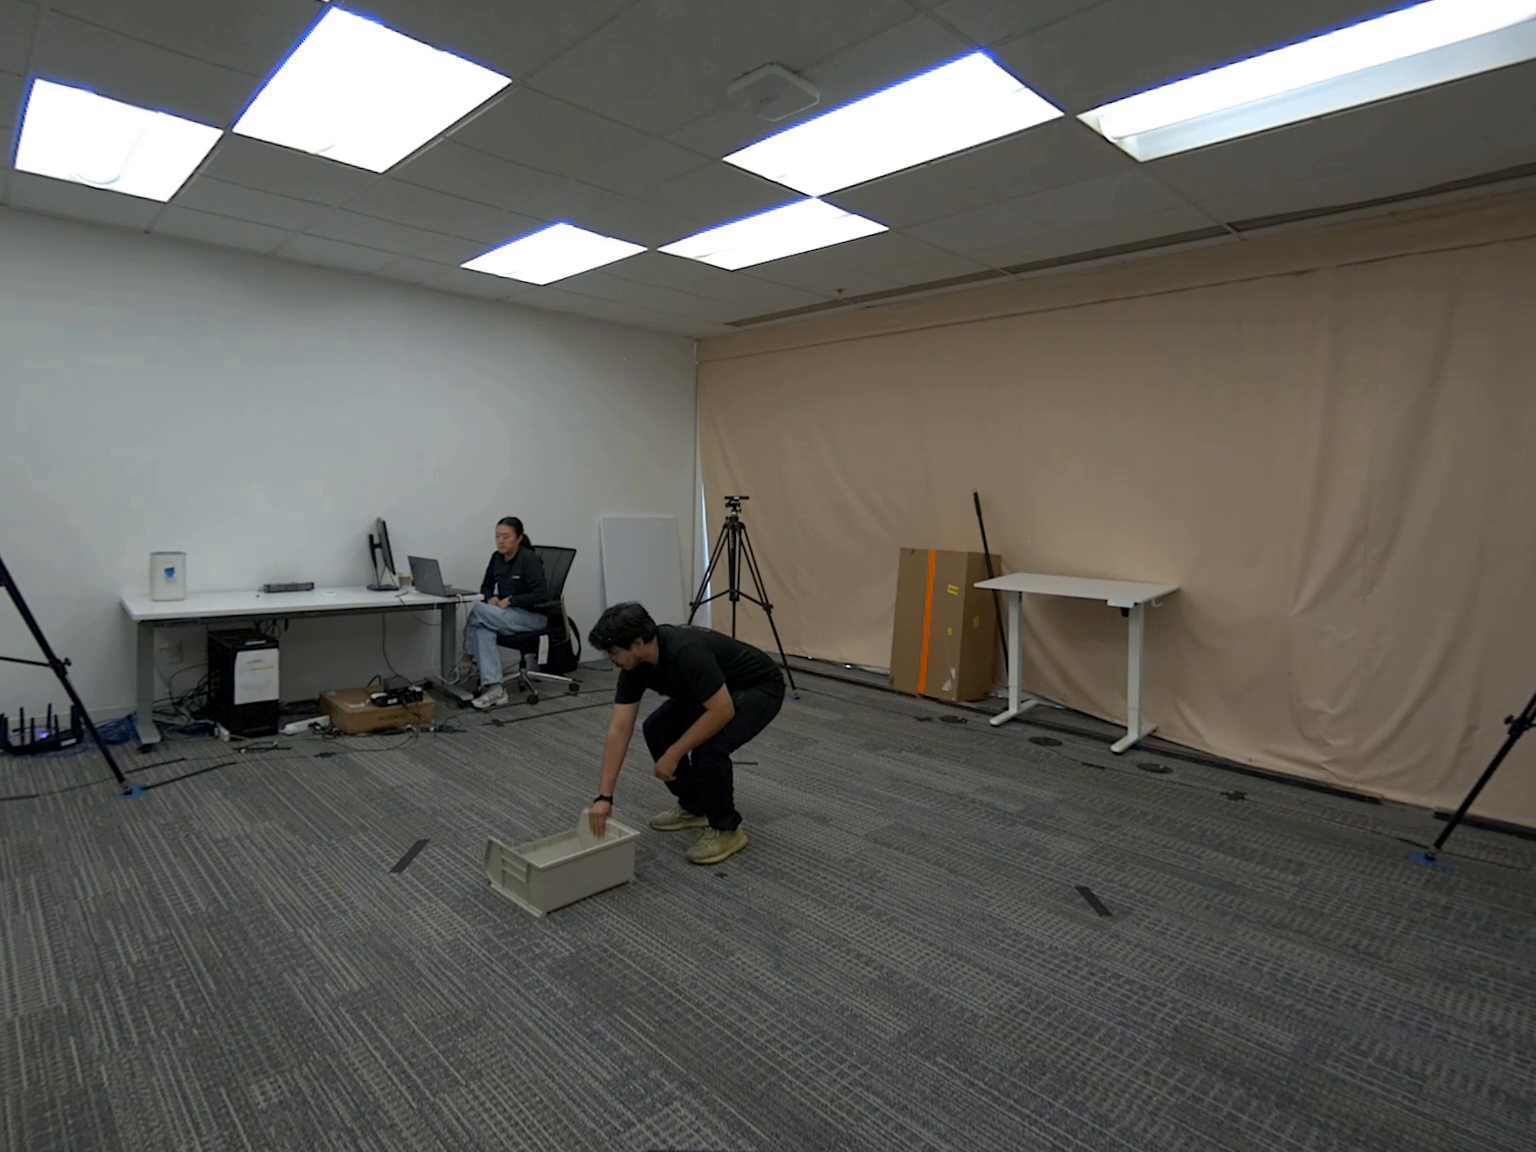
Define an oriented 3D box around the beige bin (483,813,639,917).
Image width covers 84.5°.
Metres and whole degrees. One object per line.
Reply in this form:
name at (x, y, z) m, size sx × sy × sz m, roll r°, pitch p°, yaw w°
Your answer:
beige bin at (-0.750, 1.011, 3.018) m, size 0.387 × 0.188 × 0.412 m, roll 8°, pitch 8°, yaw 44°
